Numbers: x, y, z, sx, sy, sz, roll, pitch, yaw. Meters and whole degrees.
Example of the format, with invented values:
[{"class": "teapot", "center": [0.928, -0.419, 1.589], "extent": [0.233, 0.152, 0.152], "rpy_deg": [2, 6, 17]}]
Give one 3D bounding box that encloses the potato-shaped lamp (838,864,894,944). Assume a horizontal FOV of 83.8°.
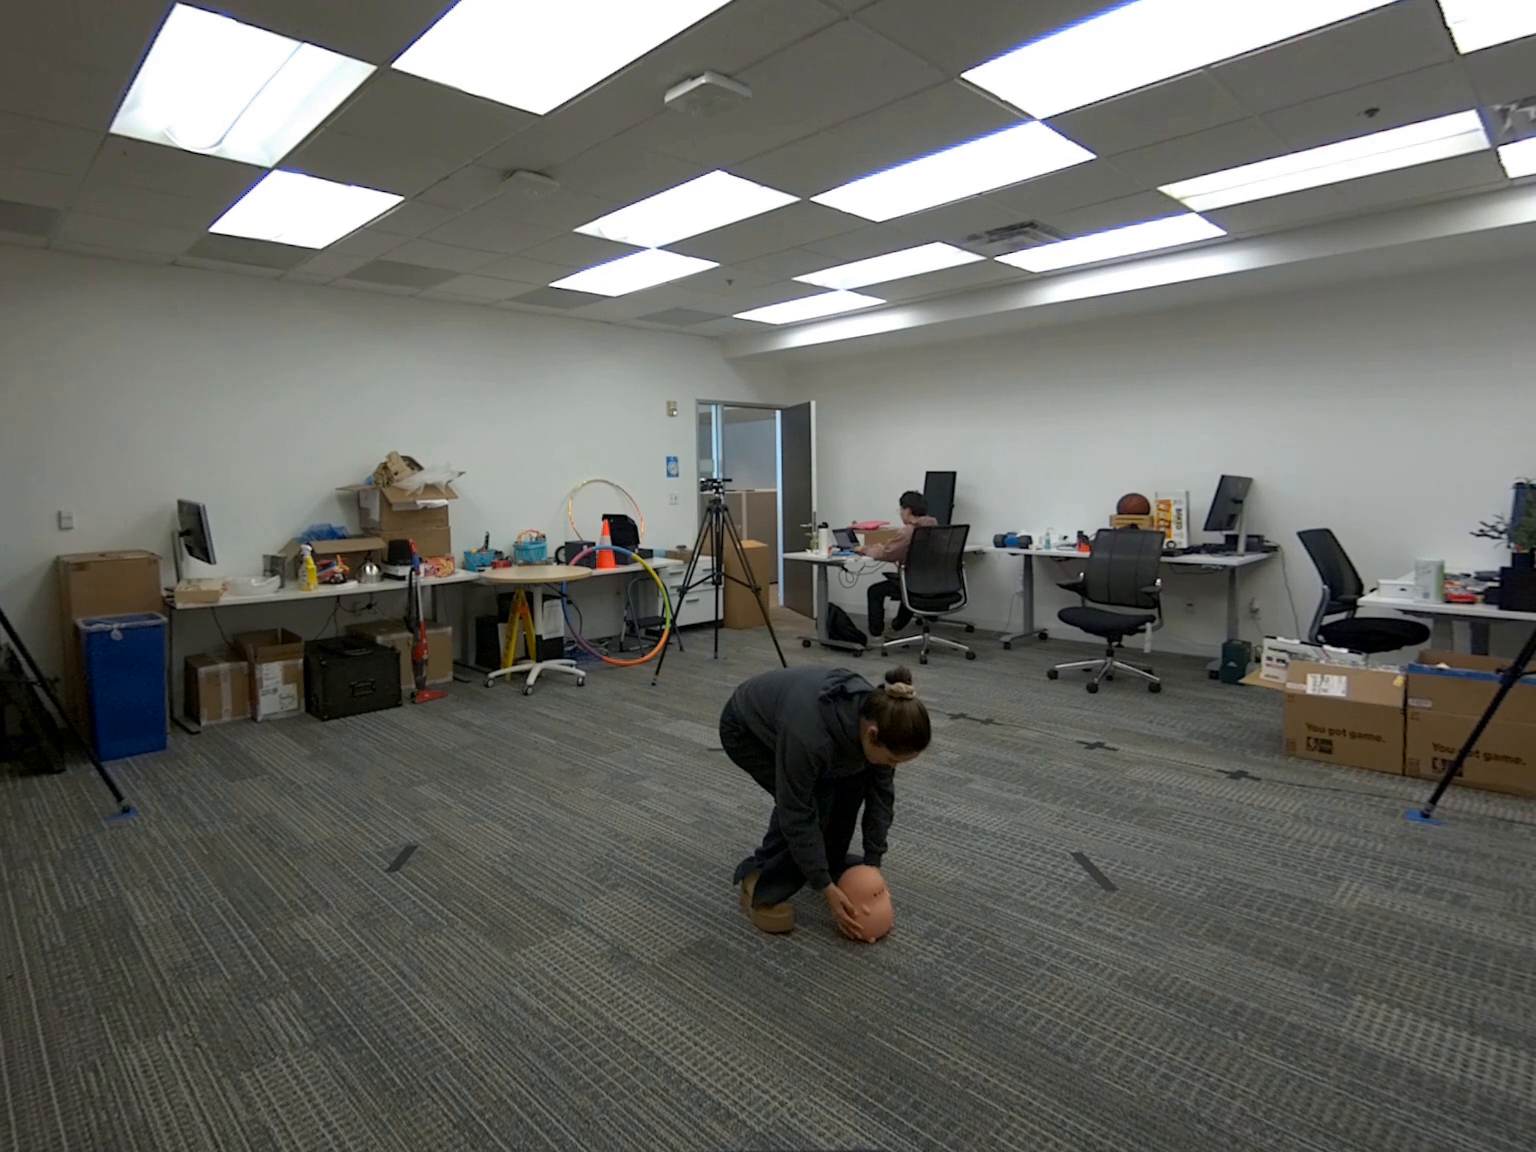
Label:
[{"class": "potato-shaped lamp", "center": [0.289, 0.992, 2.608], "extent": [0.177, 0.197, 0.160], "rpy_deg": [7, 11, 44]}]
